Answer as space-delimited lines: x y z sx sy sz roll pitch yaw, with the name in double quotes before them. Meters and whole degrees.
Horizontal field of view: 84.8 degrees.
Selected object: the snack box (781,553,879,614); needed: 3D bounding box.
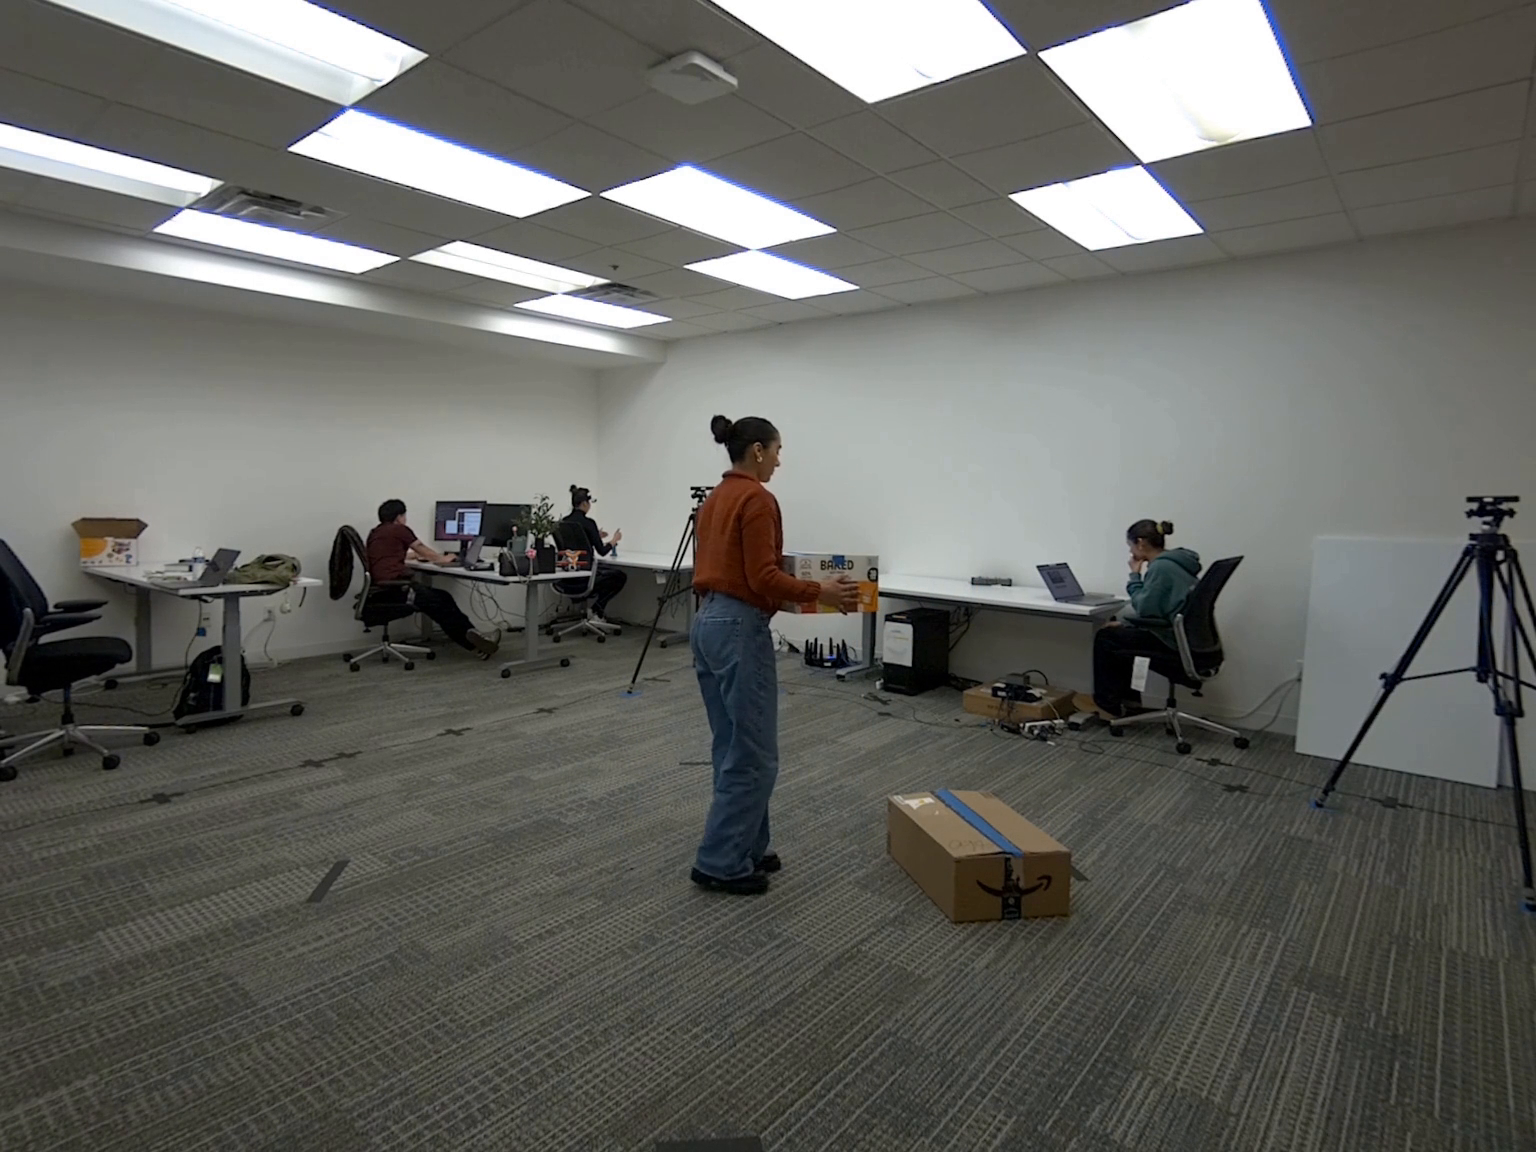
"snack box" 0.141 0.018 3.138 0.332 0.205 0.415 0 2 -25
